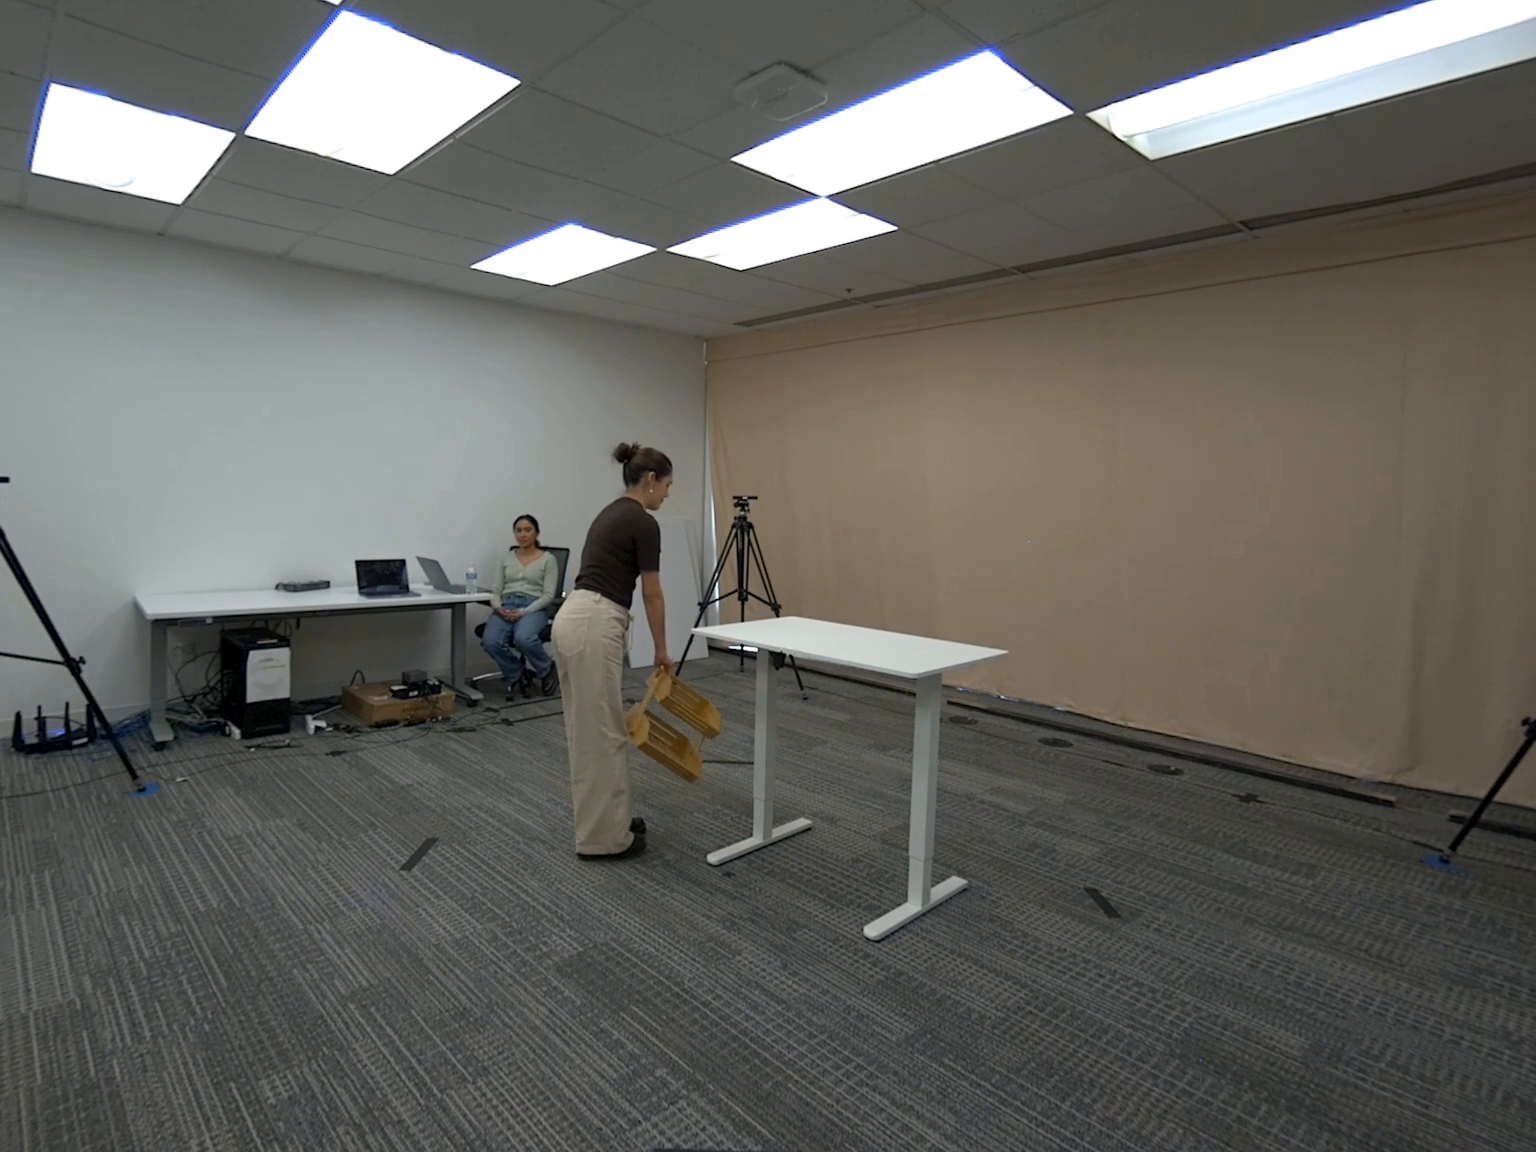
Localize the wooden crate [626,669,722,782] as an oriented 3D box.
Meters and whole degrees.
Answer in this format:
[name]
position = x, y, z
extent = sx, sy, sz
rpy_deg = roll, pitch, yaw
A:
[wooden crate]
position = -0.373, 0.589, 3.363
extent = 0.316, 0.273, 0.310
rpy_deg = 40, -2, -28
